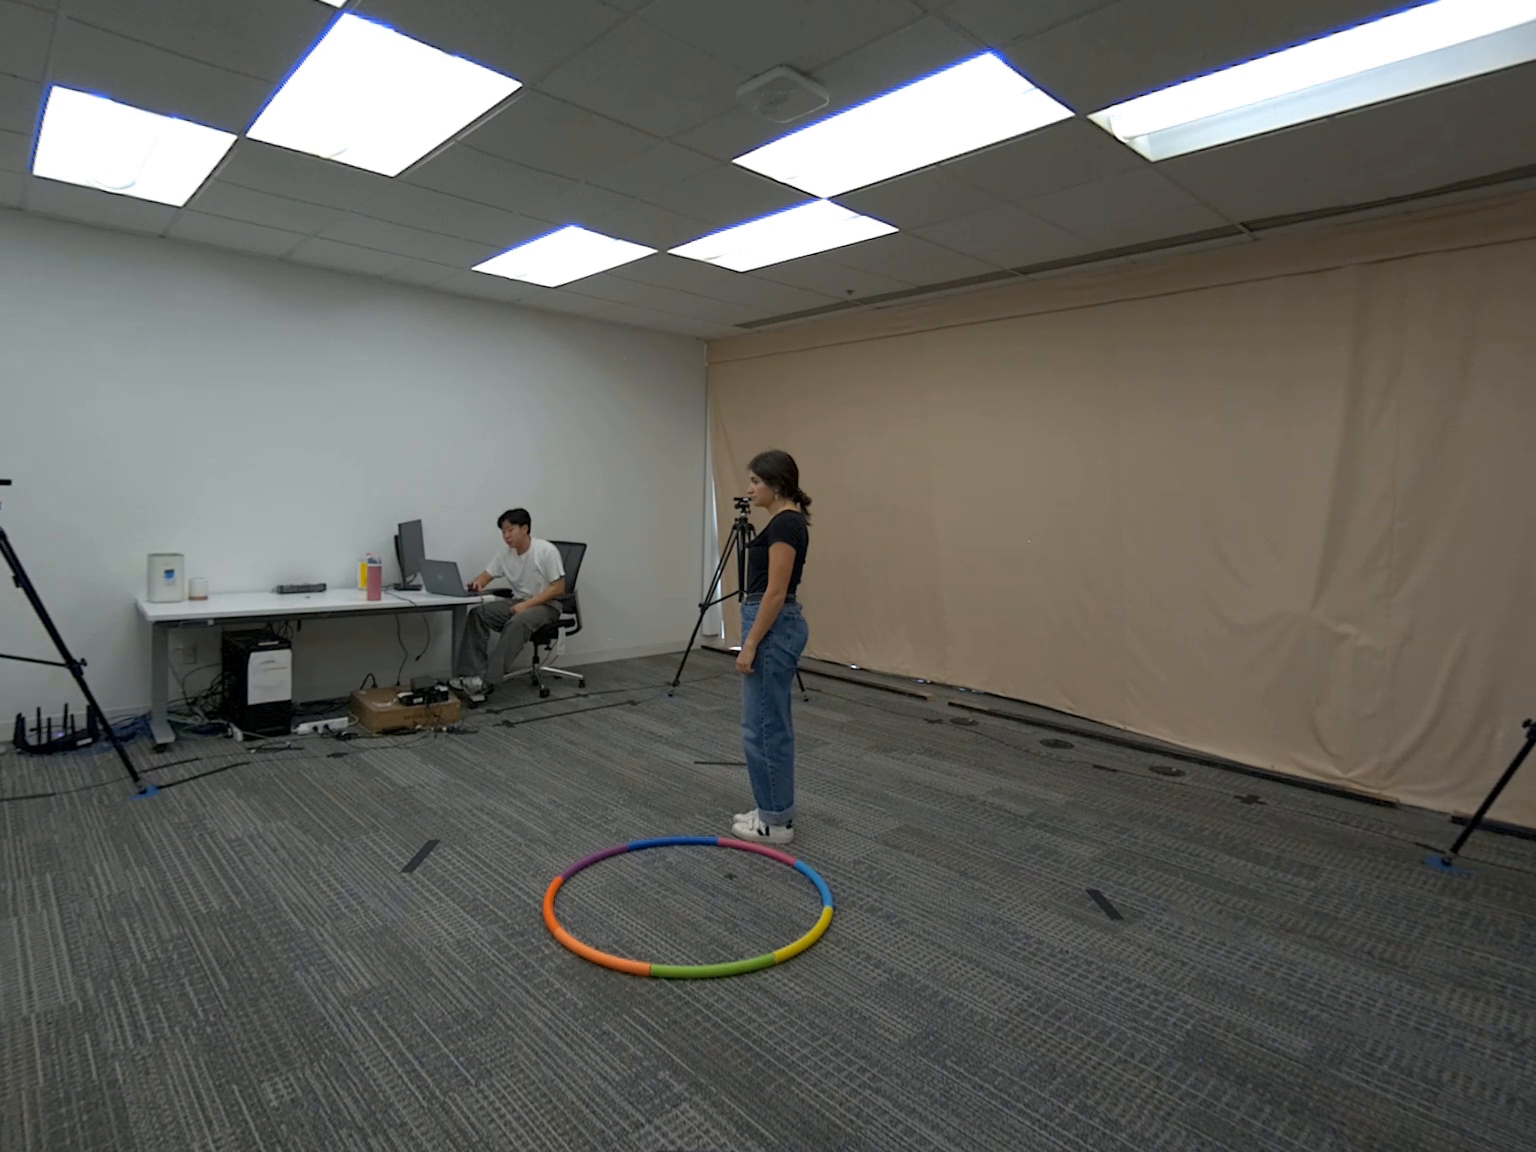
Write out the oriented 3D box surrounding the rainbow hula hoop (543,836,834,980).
[{"bbox_3d":[-0.272,1.095,2.906,0.978,0.035,0.982,1,5,-1],"label":"rainbow hula hoop"}]
